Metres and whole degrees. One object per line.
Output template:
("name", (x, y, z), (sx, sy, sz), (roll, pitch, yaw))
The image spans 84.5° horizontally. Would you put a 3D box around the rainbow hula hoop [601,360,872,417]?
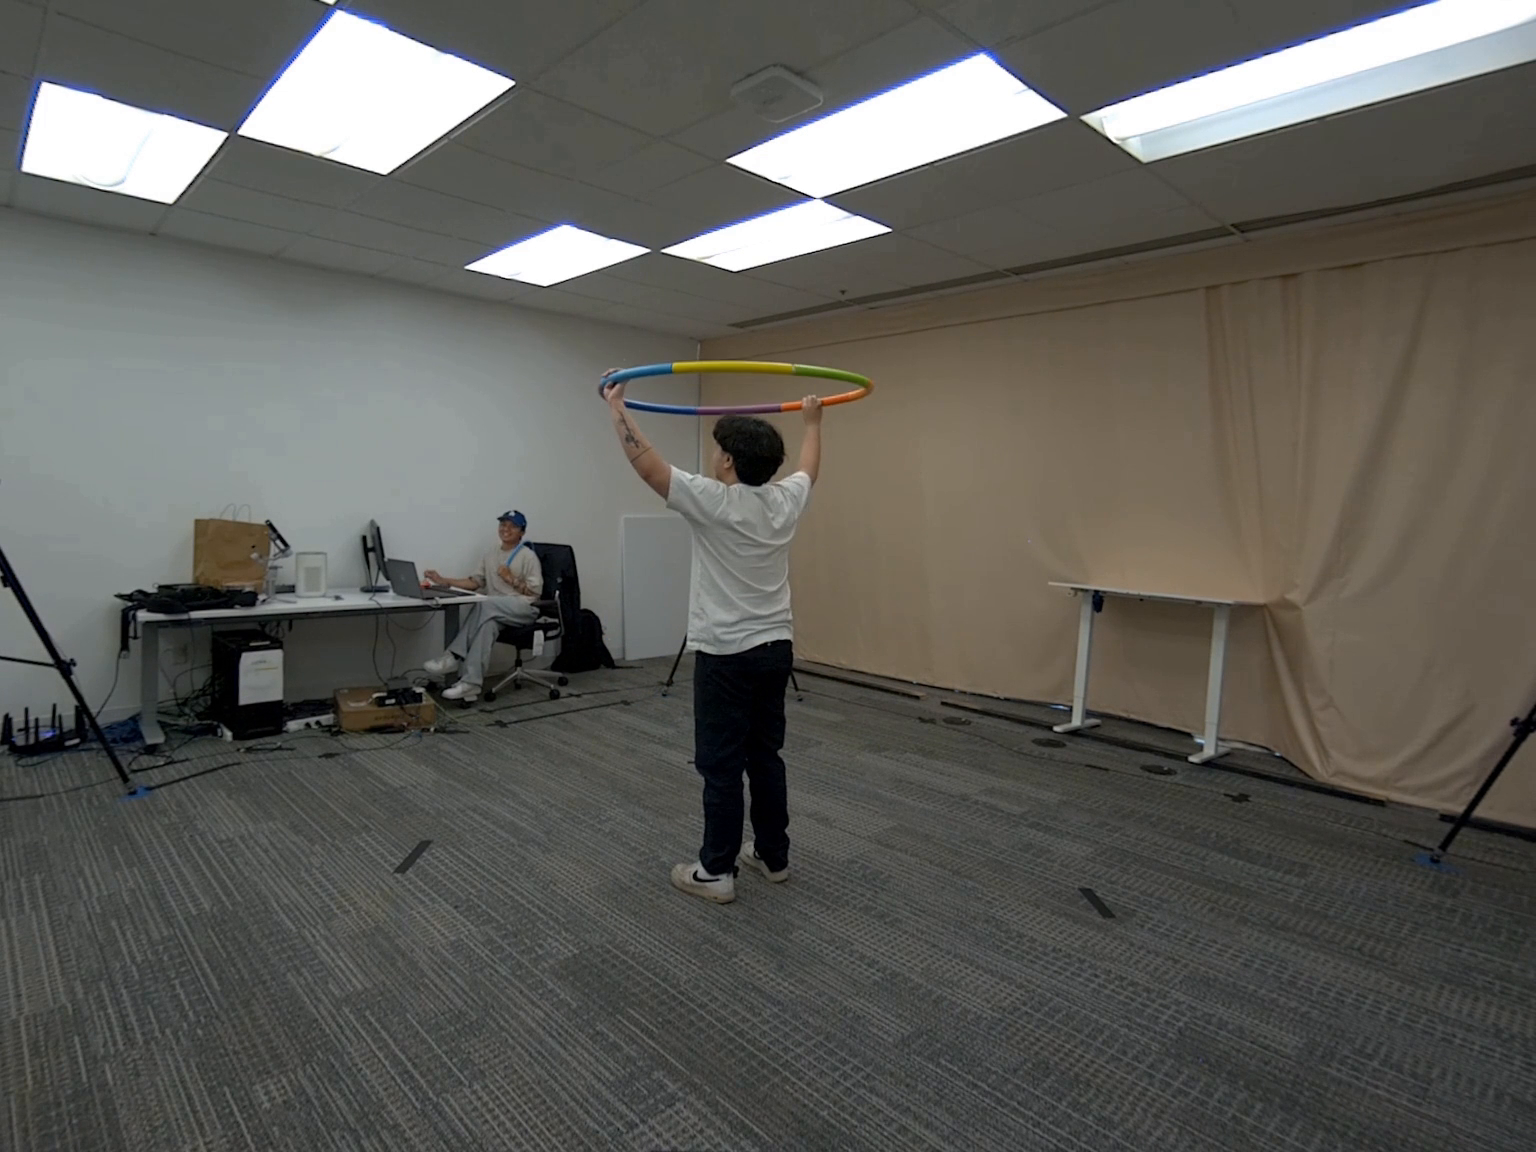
("rainbow hula hoop", (-0.119, -0.659, 3.027), (0.985, 0.051, 0.988), (0, 4, -1))
